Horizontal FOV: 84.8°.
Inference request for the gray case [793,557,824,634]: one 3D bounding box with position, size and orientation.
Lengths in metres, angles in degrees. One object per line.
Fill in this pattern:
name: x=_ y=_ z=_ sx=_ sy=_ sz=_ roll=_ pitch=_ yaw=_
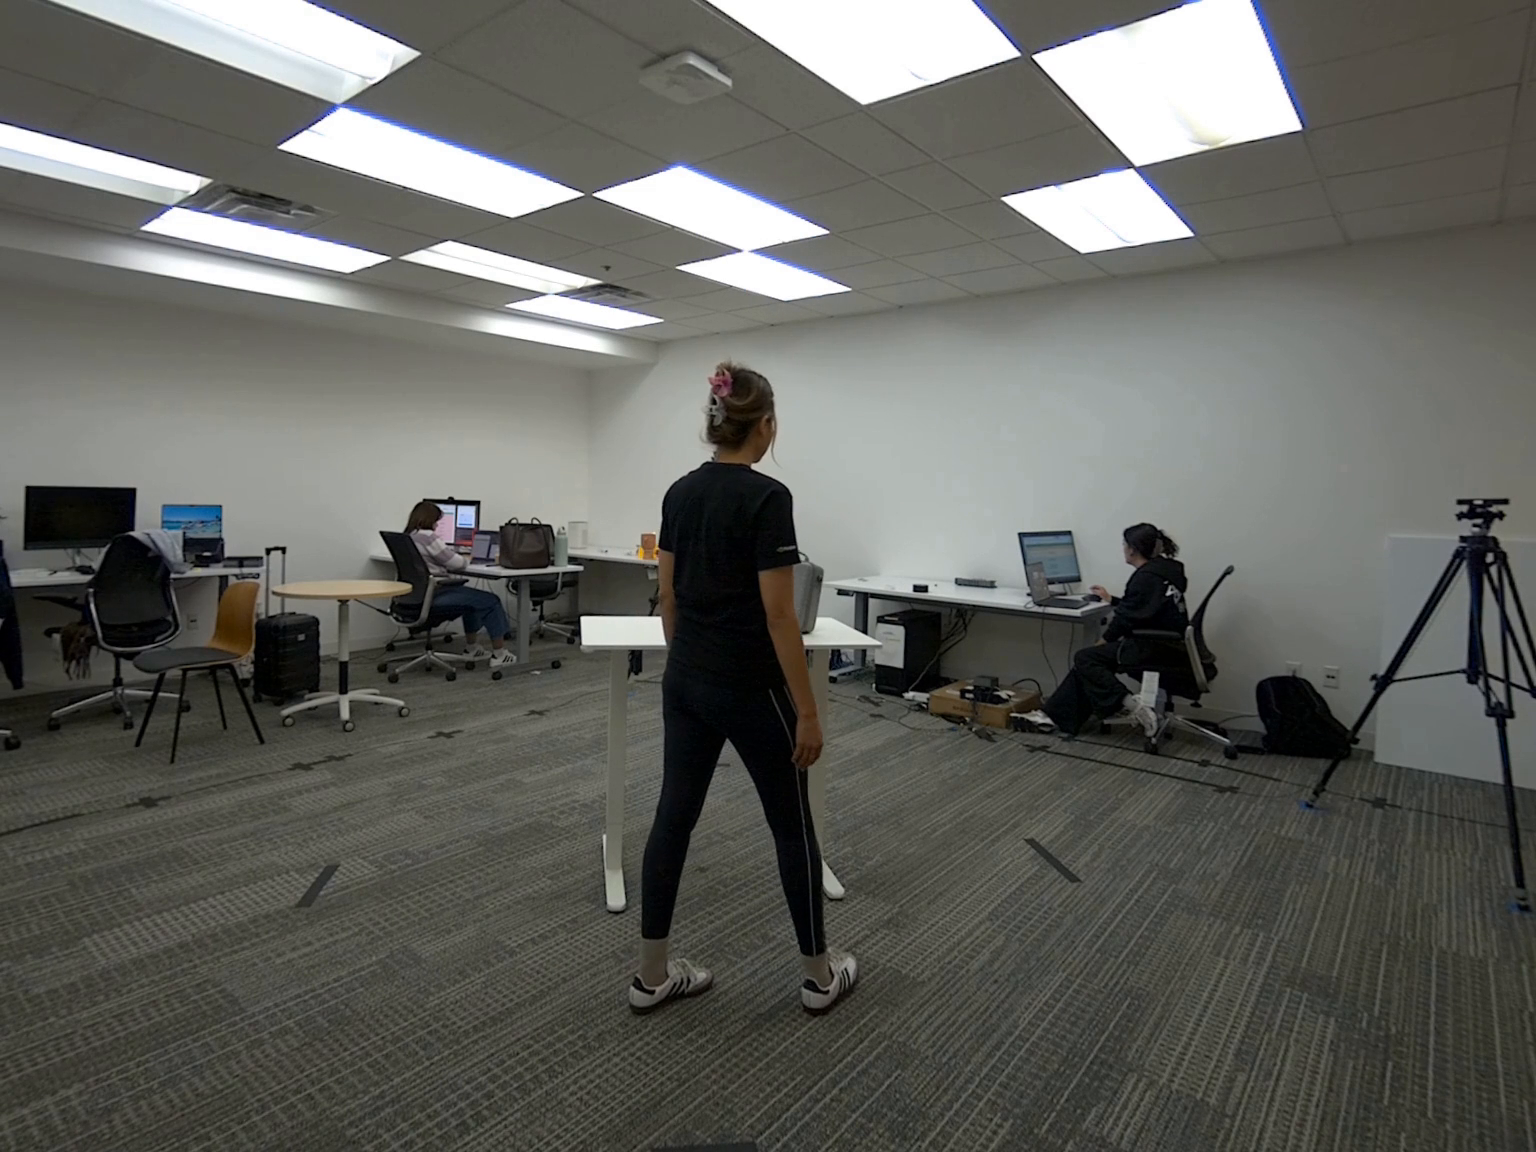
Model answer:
gray case: x=0.057 y=0.062 z=3.113 sx=0.266 sy=0.261 sz=0.100 roll=7 pitch=-5 yaw=43
